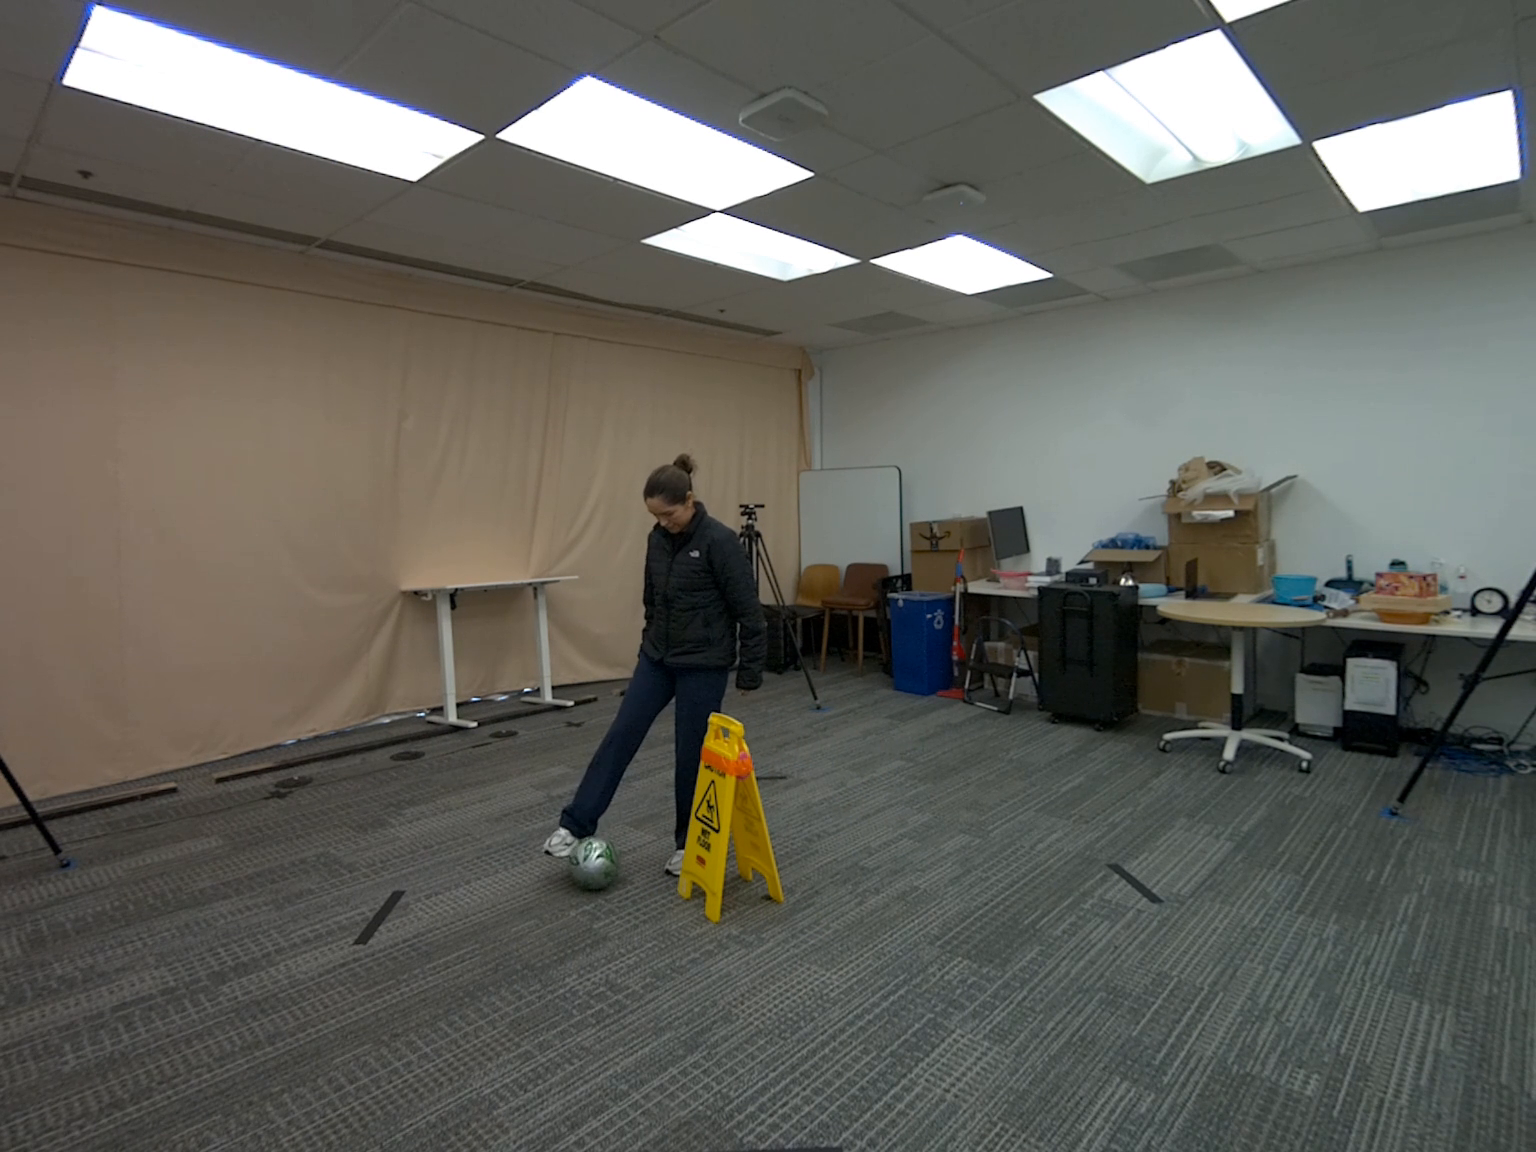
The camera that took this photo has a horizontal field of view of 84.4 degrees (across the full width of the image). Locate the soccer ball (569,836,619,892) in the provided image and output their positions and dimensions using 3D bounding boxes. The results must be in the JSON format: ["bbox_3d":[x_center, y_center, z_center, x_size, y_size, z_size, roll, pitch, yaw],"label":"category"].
[{"bbox_3d":[-0.634,1.055,3.094,0.187,0.187,0.188,-1,4,-2],"label":"soccer ball"}]
